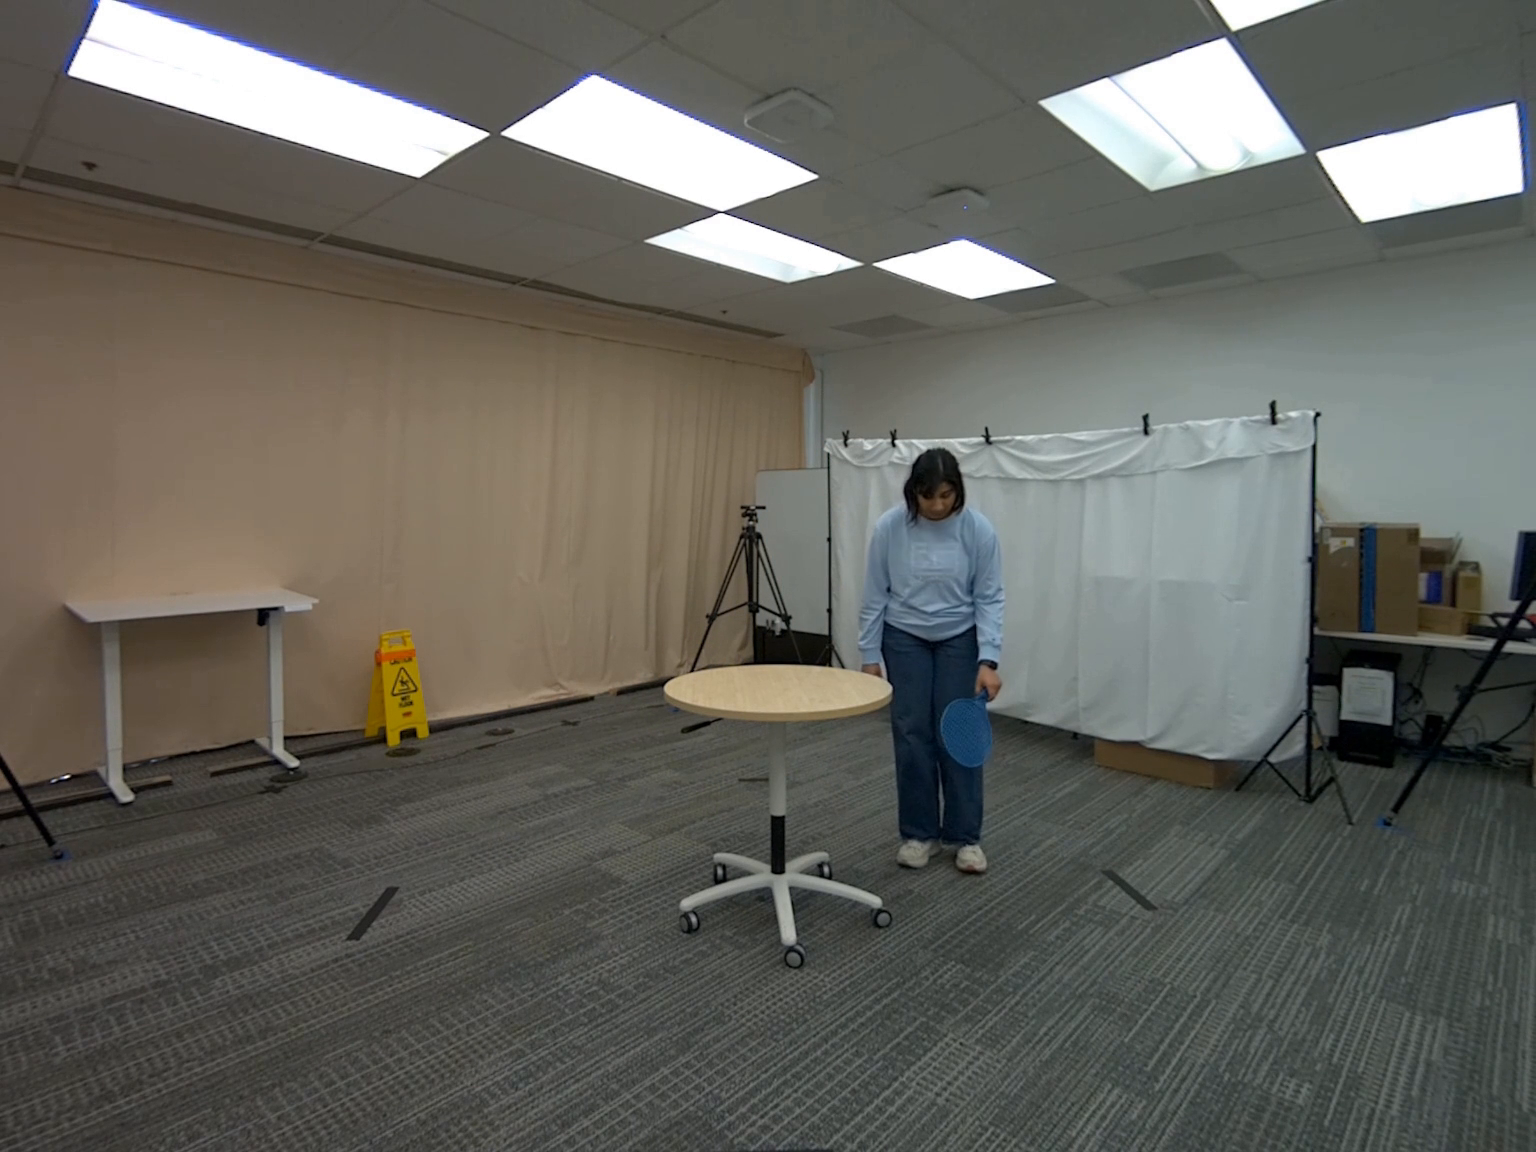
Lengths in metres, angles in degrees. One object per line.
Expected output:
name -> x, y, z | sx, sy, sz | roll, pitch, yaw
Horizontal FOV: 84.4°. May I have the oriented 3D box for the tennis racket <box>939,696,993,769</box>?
tennis racket -> 0.733, 0.489, 2.953 | 0.032, 0.212, 0.429 | -36, 10, 48
